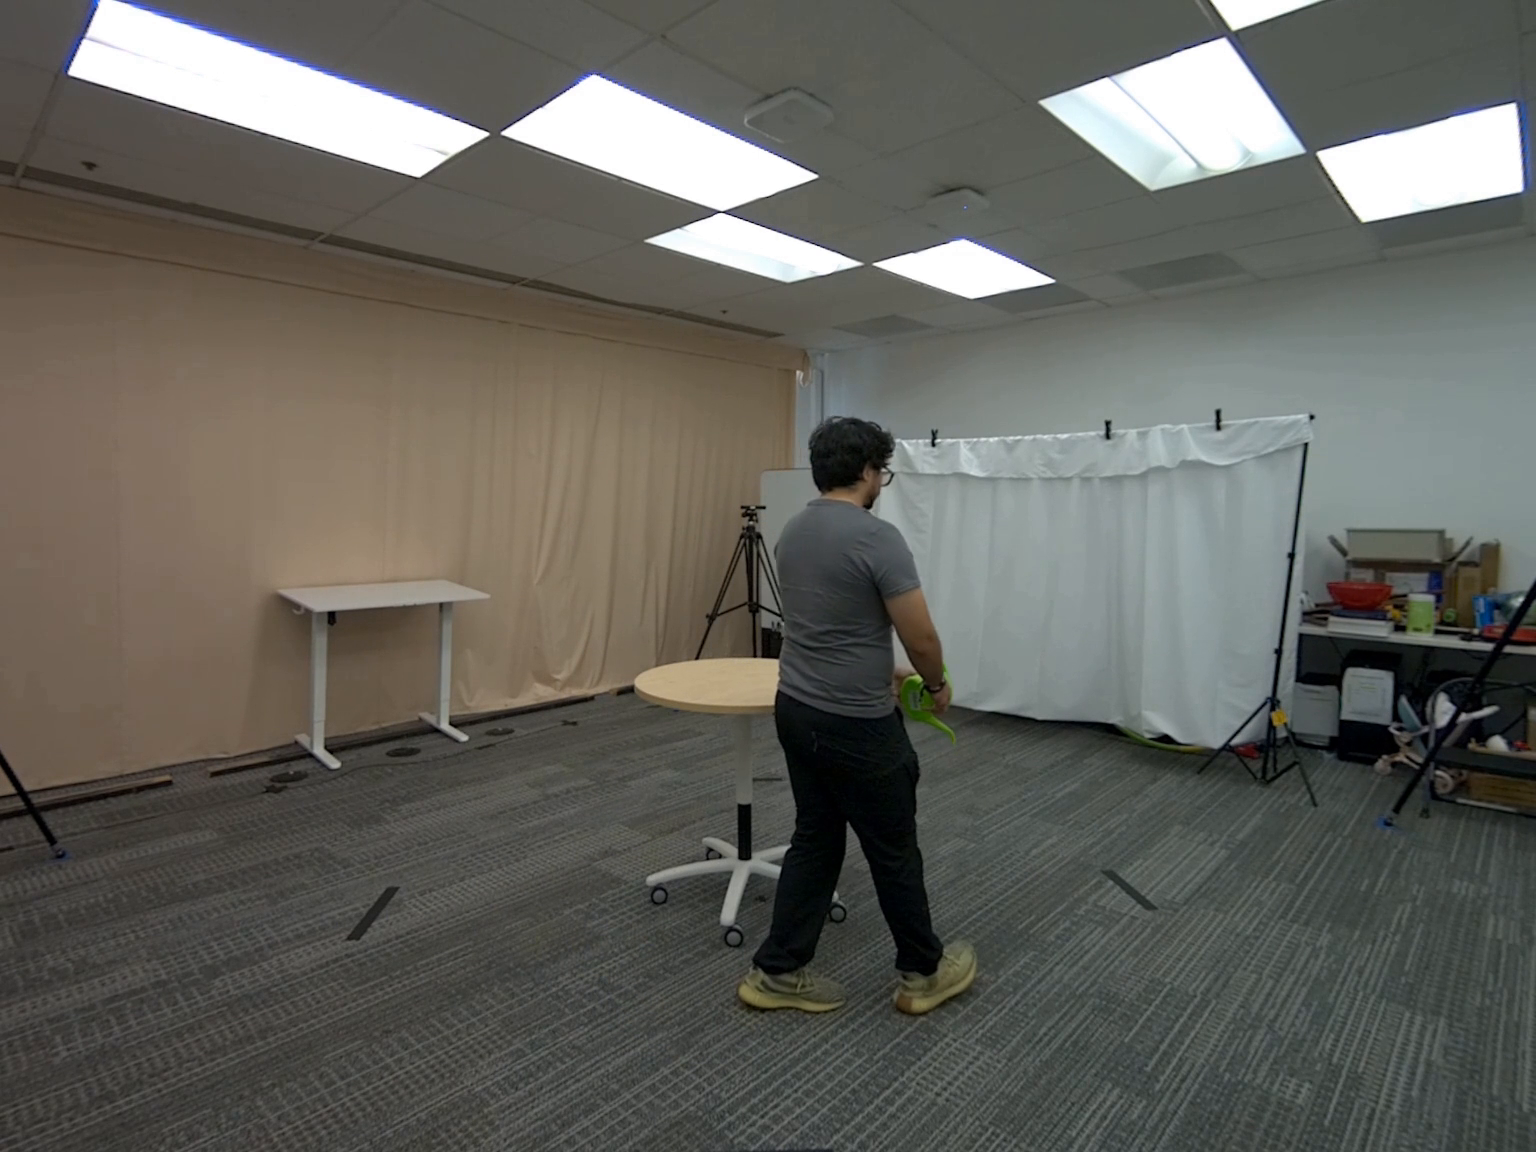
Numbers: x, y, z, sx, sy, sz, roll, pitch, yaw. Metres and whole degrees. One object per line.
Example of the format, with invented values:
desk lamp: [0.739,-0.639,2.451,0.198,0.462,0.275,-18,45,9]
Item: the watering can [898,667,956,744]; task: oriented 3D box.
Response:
watering can: [0.515,0.384,2.508,0.172,0.281,0.100,-13,-12,-39]
